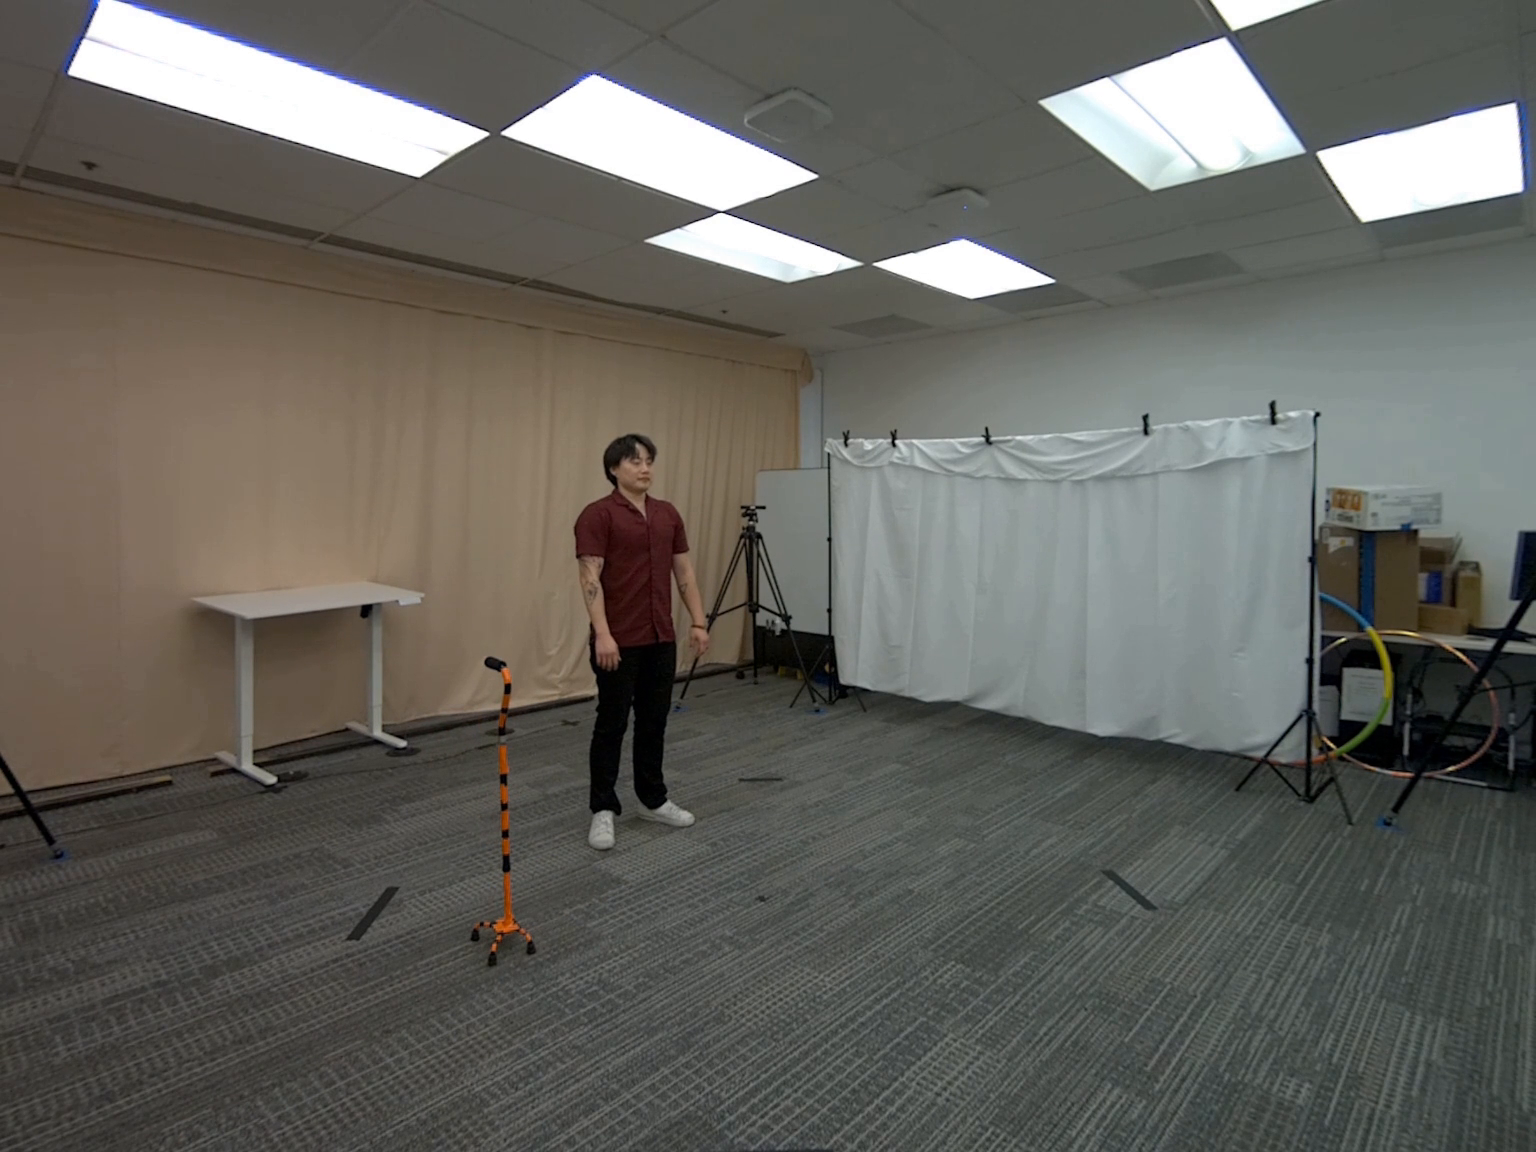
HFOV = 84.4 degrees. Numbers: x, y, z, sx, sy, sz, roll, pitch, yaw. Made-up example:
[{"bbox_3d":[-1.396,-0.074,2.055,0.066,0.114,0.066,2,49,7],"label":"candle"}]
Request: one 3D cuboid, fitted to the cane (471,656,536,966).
[{"bbox_3d":[-0.846,0.718,2.662,0.147,0.906,0.213,-2,3,-33],"label":"cane"}]
